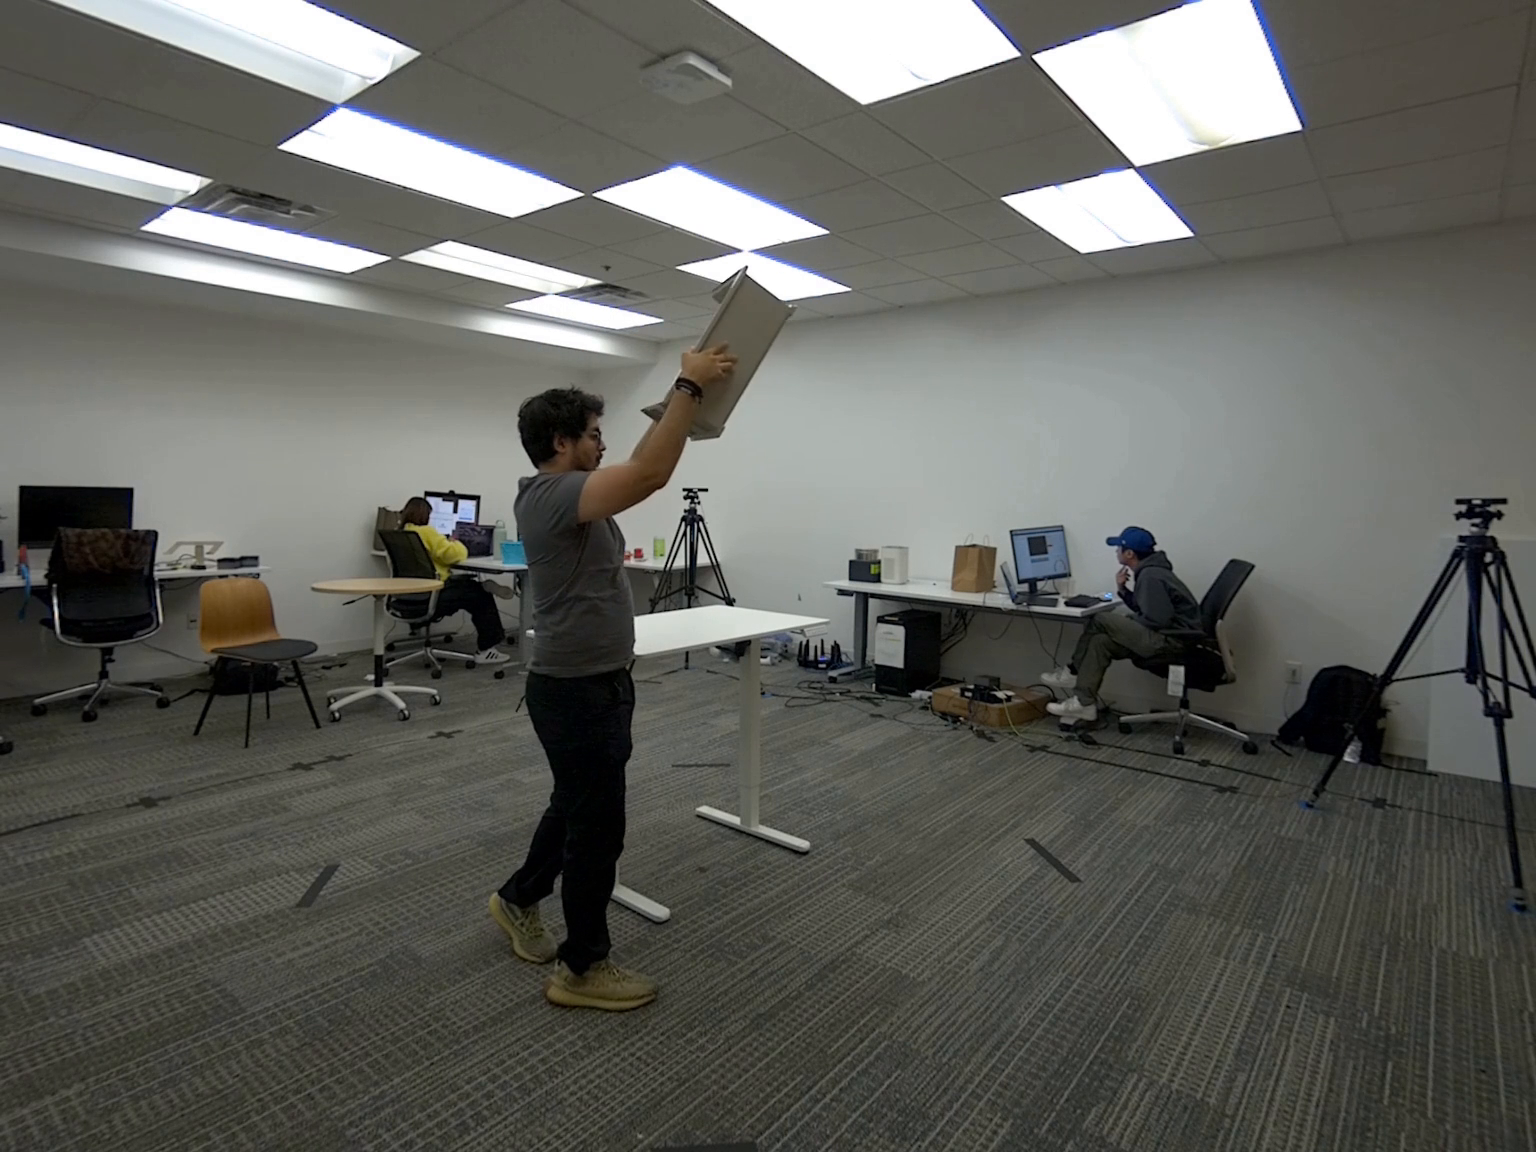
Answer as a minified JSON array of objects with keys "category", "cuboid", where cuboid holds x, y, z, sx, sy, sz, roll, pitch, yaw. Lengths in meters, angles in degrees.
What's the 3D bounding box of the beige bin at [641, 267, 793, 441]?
[{"category":"beige bin","cuboid":[-0.164,-0.609,2.384,0.185,0.423,0.385,32,-5,-18]}]
